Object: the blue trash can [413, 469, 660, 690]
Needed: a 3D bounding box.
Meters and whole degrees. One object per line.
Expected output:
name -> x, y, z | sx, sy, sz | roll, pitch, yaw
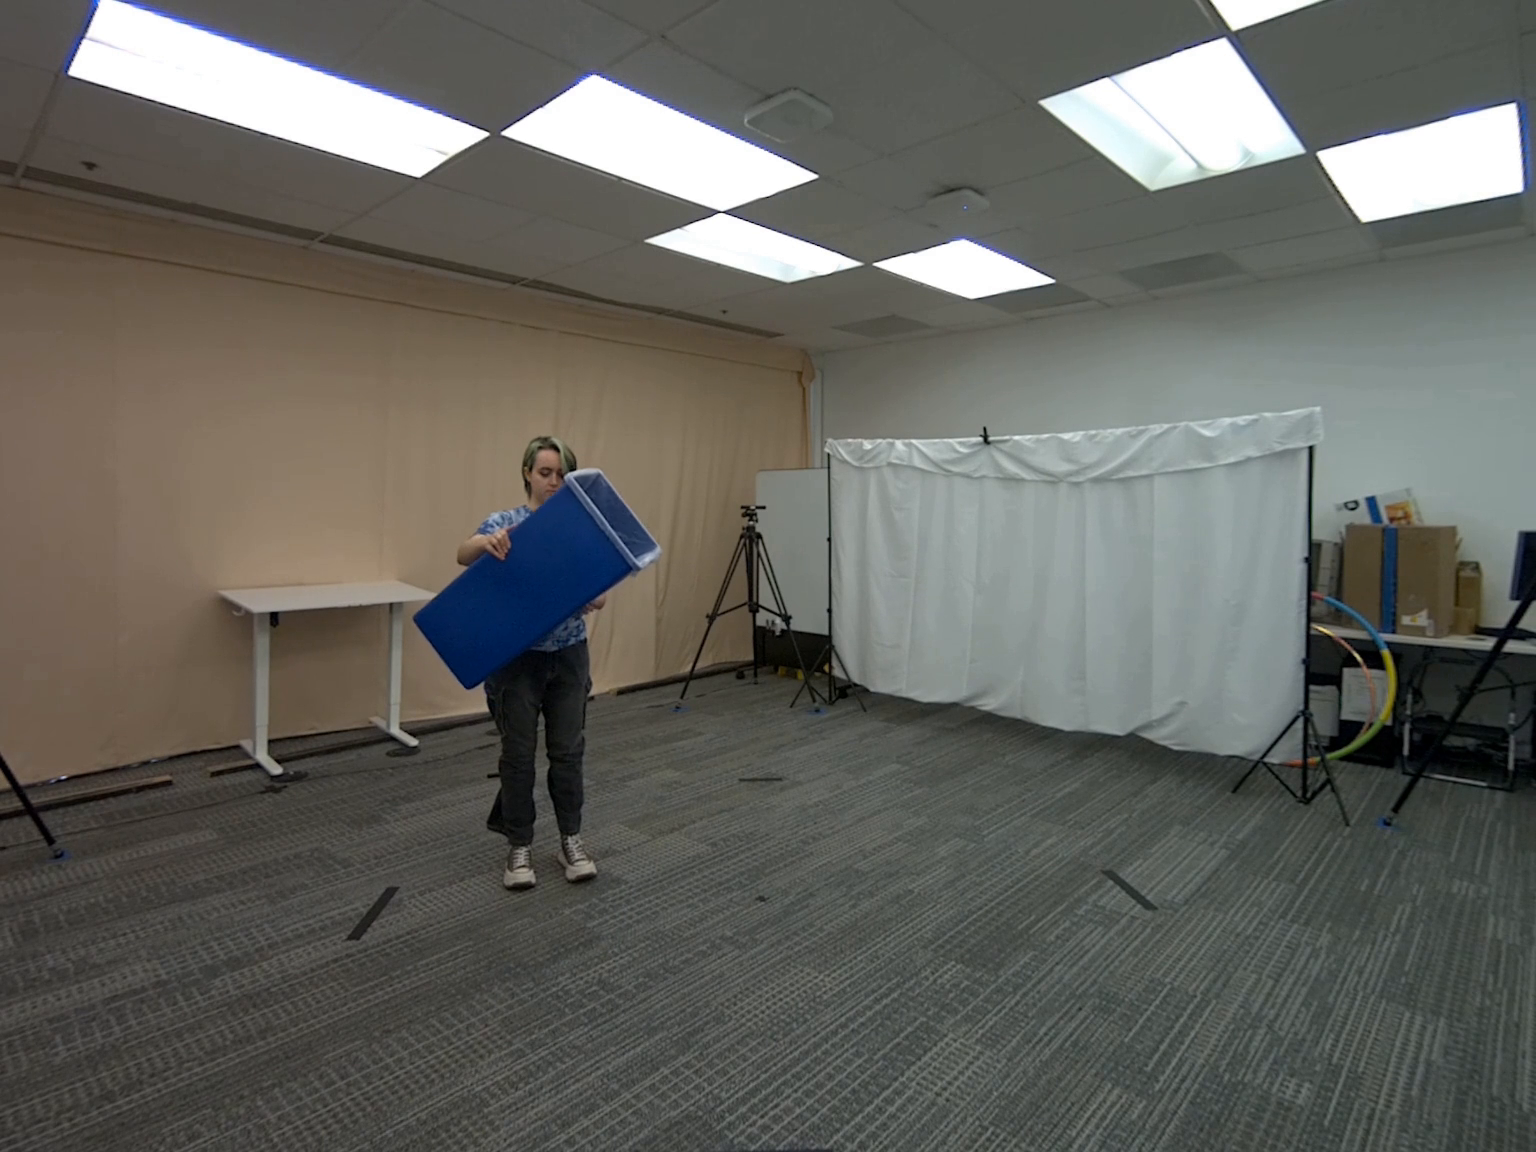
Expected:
blue trash can -> -0.763, 0.006, 2.763 | 0.717, 0.373, 0.377 | -36, 3, 11
